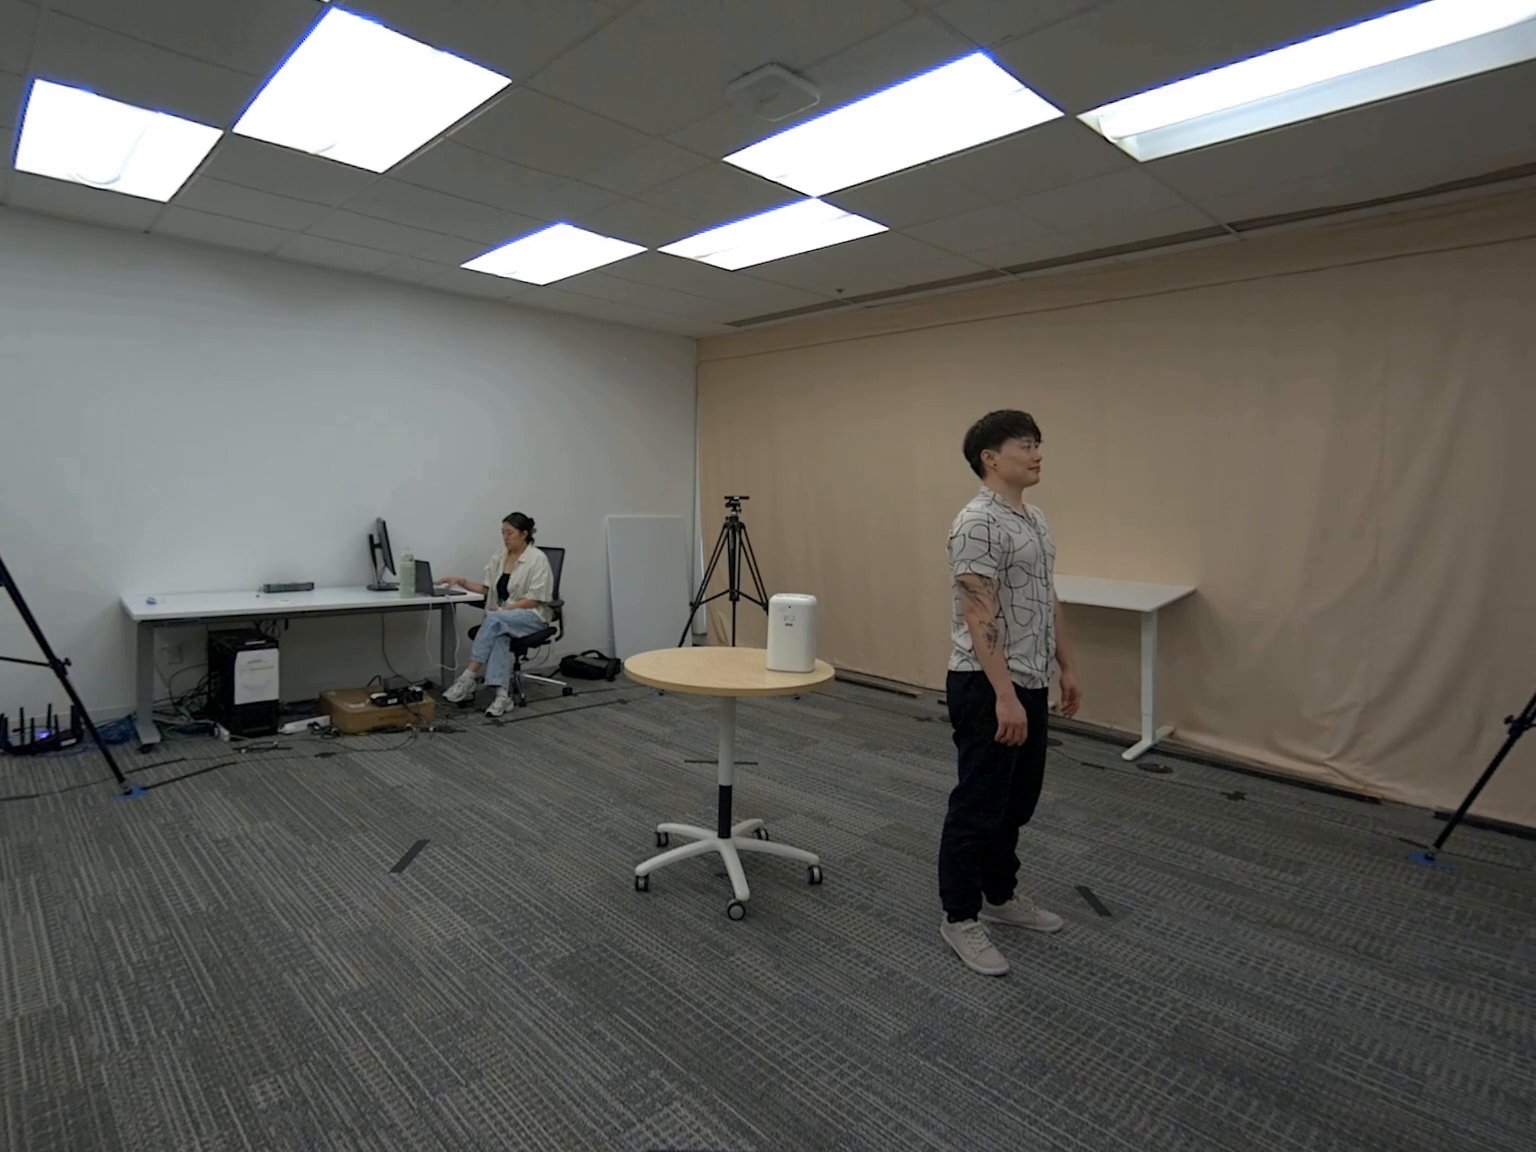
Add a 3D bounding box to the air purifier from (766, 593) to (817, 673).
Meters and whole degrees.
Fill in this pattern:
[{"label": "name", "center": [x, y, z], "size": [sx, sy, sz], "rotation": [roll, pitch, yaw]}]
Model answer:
[{"label": "air purifier", "center": [0.084, 0.202, 3.053], "size": [0.173, 0.265, 0.170], "rotation": [4, 3, 14]}]
